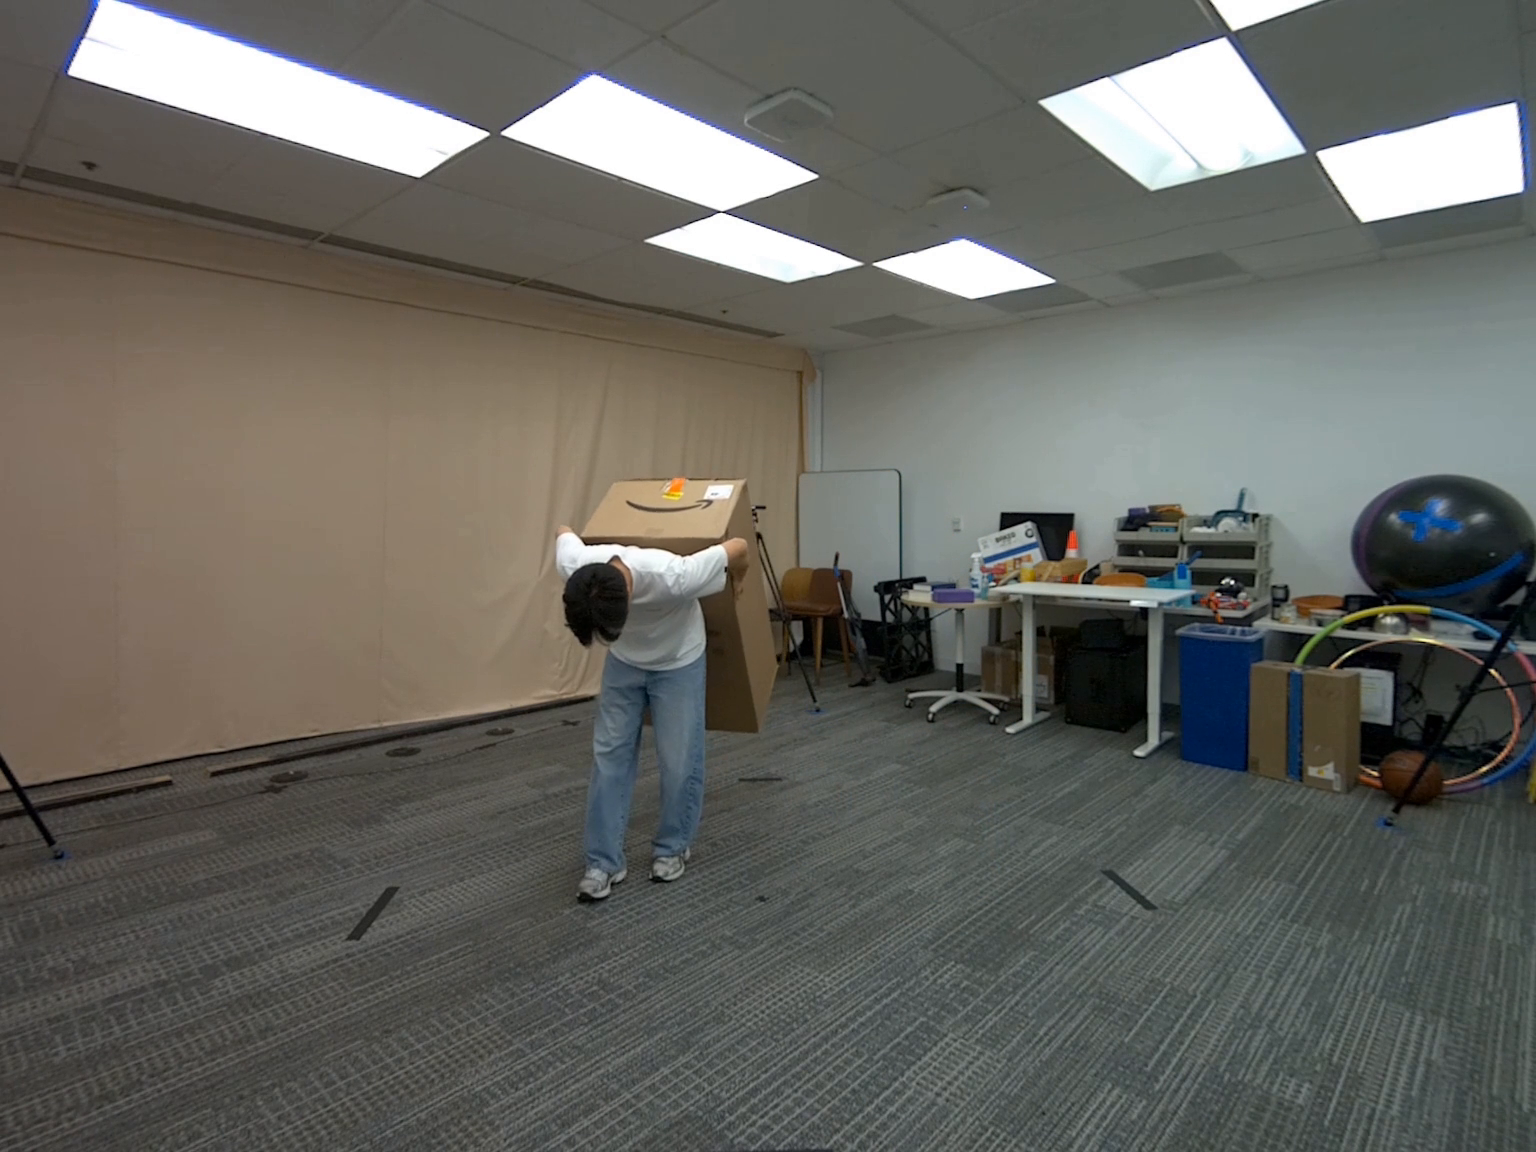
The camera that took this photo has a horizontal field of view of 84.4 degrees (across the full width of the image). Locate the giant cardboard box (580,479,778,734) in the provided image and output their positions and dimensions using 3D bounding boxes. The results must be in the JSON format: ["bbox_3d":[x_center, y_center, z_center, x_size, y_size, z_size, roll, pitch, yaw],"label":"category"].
[{"bbox_3d":[-0.337,0.138,3.578,0.587,1.003,0.429,1,35,15],"label":"giant cardboard box"}]
